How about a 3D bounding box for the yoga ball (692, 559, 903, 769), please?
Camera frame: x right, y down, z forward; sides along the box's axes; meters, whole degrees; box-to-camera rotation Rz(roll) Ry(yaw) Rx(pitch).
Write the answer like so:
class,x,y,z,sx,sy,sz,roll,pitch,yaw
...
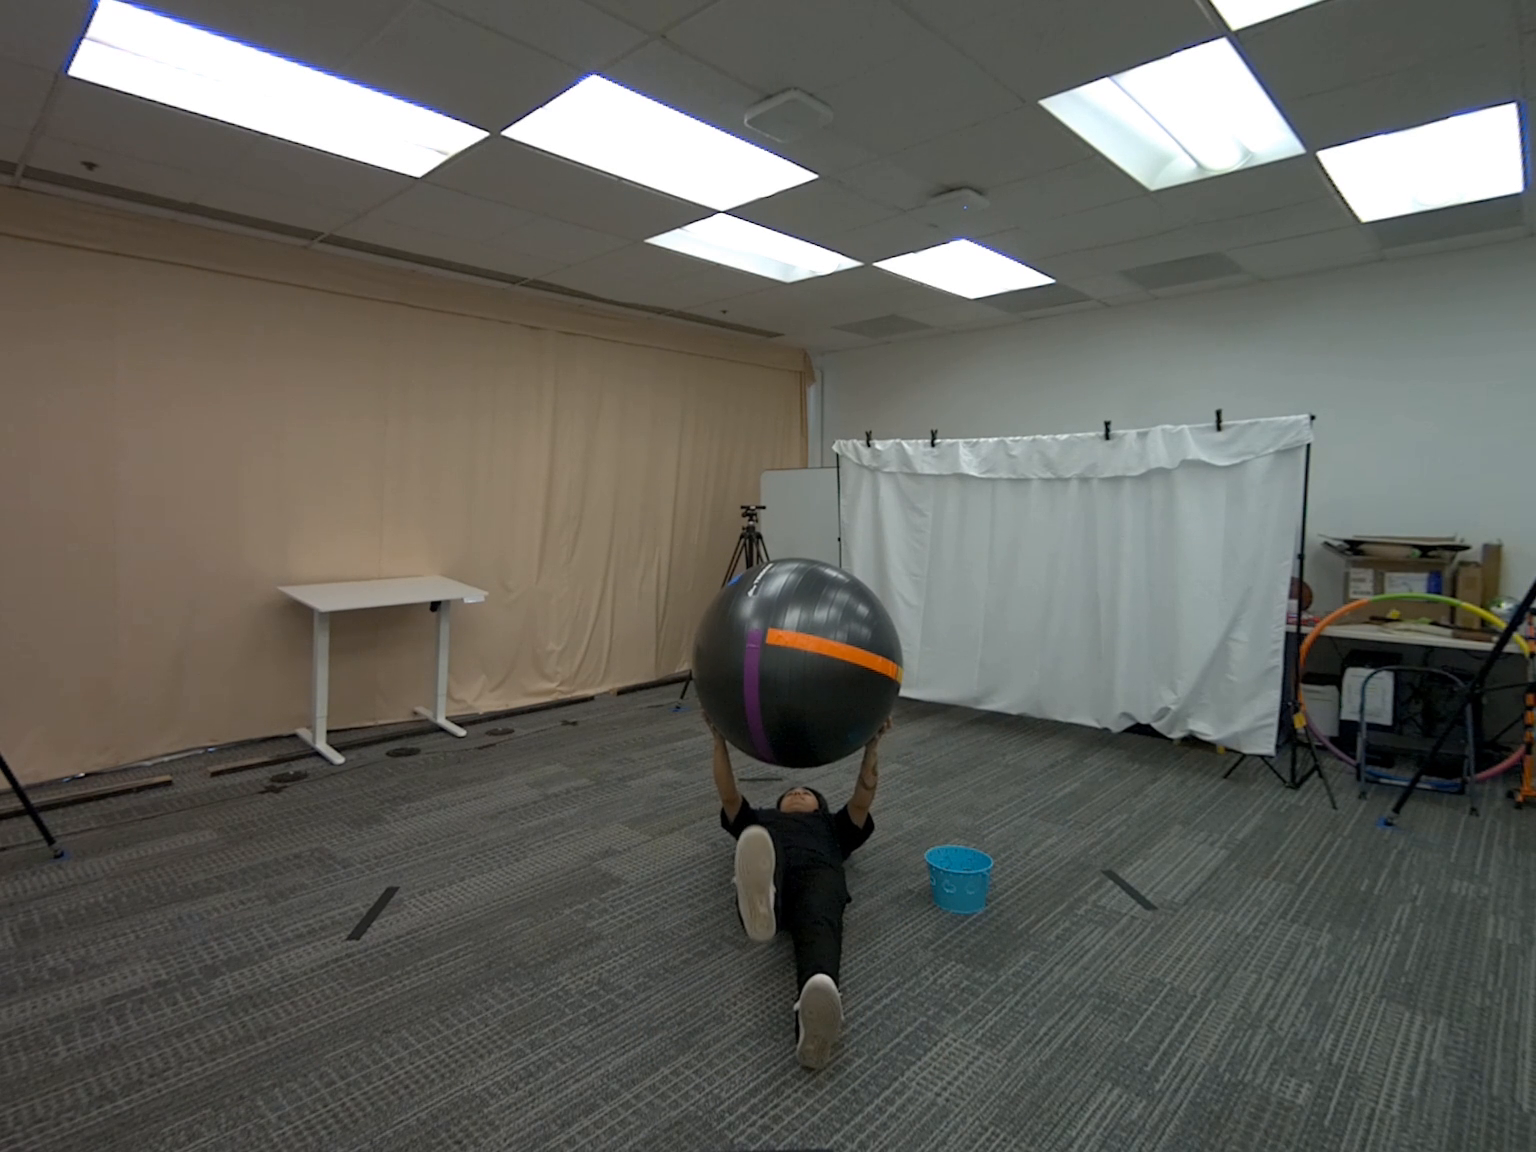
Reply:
class,x,y,z,sx,sy,sz,roll,pitch,yaw
yoga ball,0.102,0.322,3.079,0.757,0.756,0.760,0,4,-2
